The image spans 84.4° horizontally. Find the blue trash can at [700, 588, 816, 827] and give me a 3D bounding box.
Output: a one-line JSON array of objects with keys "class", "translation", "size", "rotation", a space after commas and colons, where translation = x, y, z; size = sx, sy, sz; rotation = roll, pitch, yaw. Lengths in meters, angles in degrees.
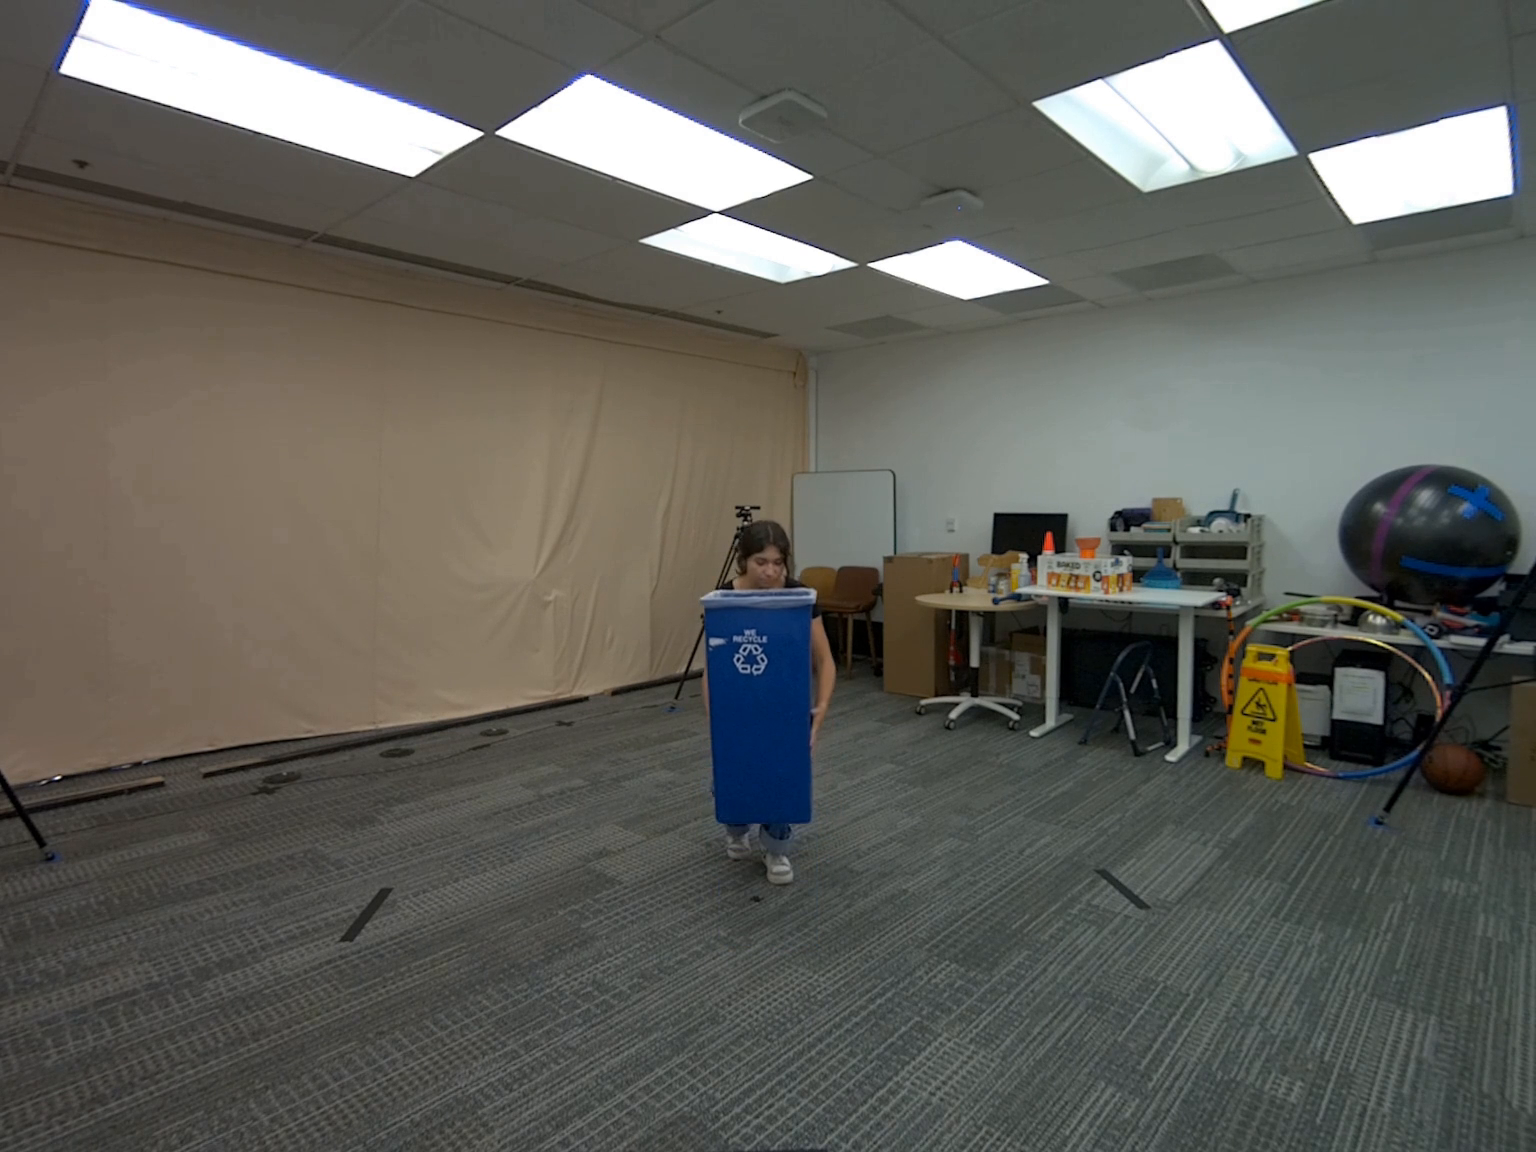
[{"class": "blue trash can", "translation": [-0.008, 0.415, 2.790], "size": [0.376, 0.713, 0.376], "rotation": [-3, 1, 5]}]
